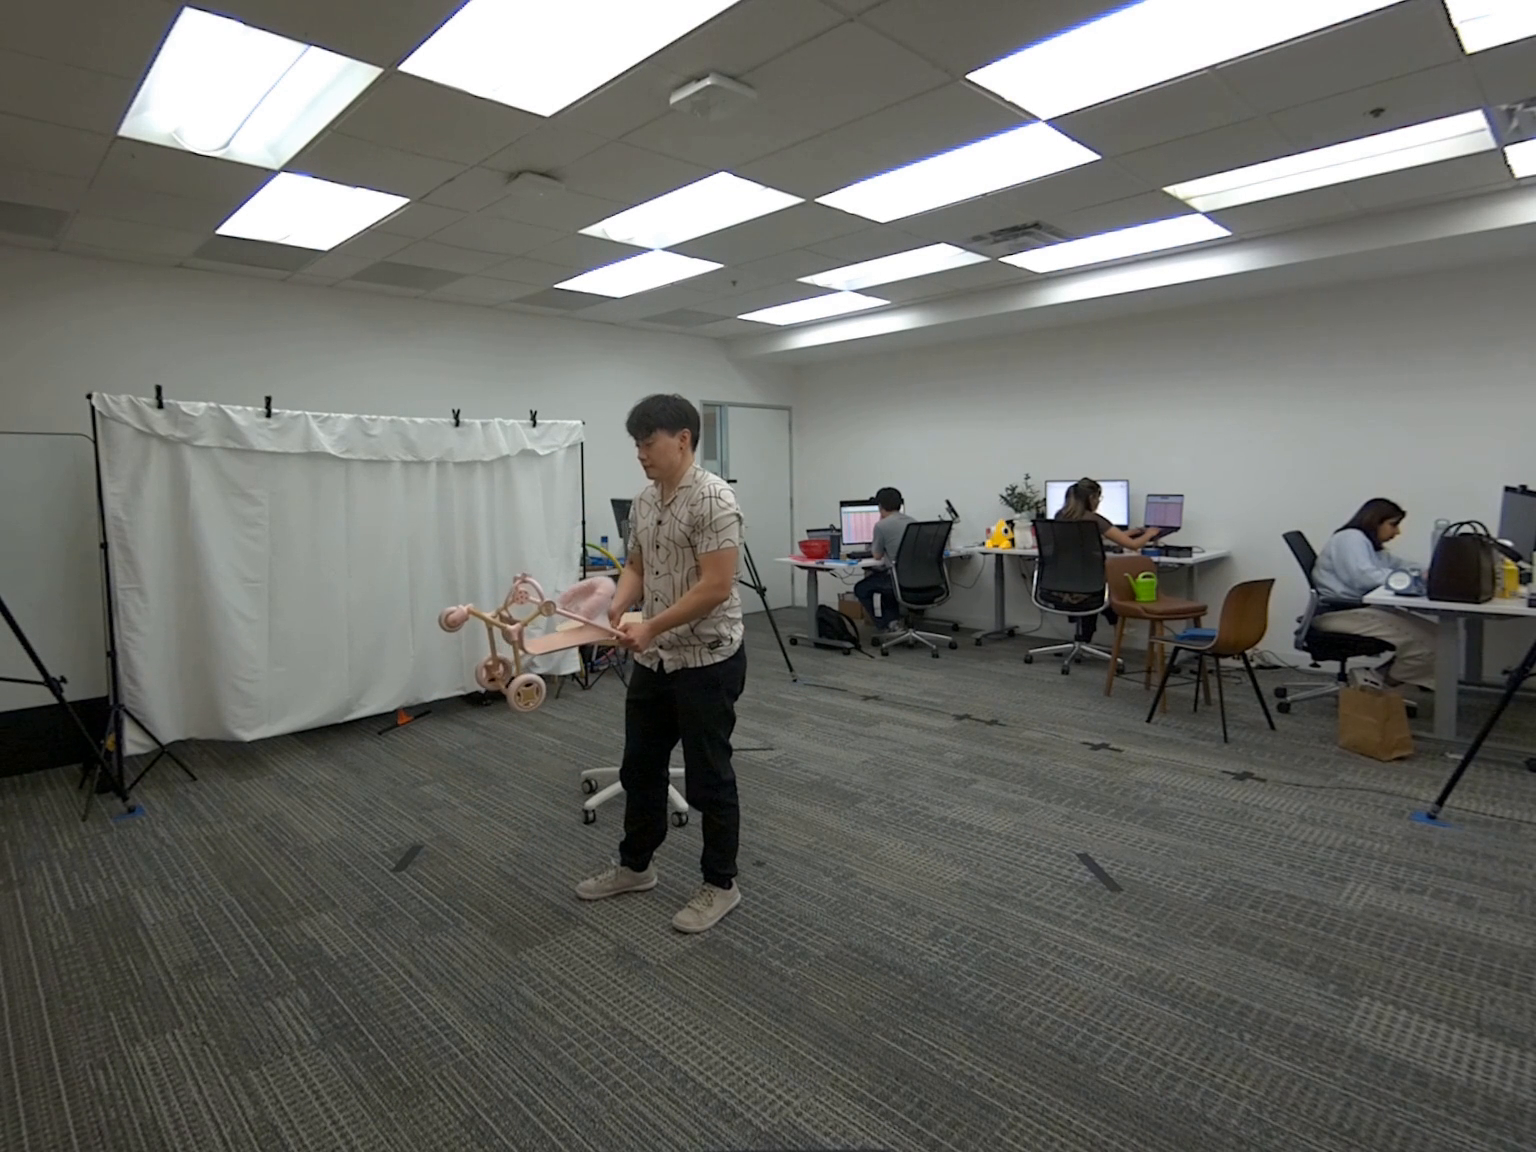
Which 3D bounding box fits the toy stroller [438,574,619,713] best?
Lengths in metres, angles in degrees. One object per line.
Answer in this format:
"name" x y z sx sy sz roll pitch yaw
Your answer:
"toy stroller" -0.646 0.149 2.448 0.528 0.336 0.289 -27 16 -29
